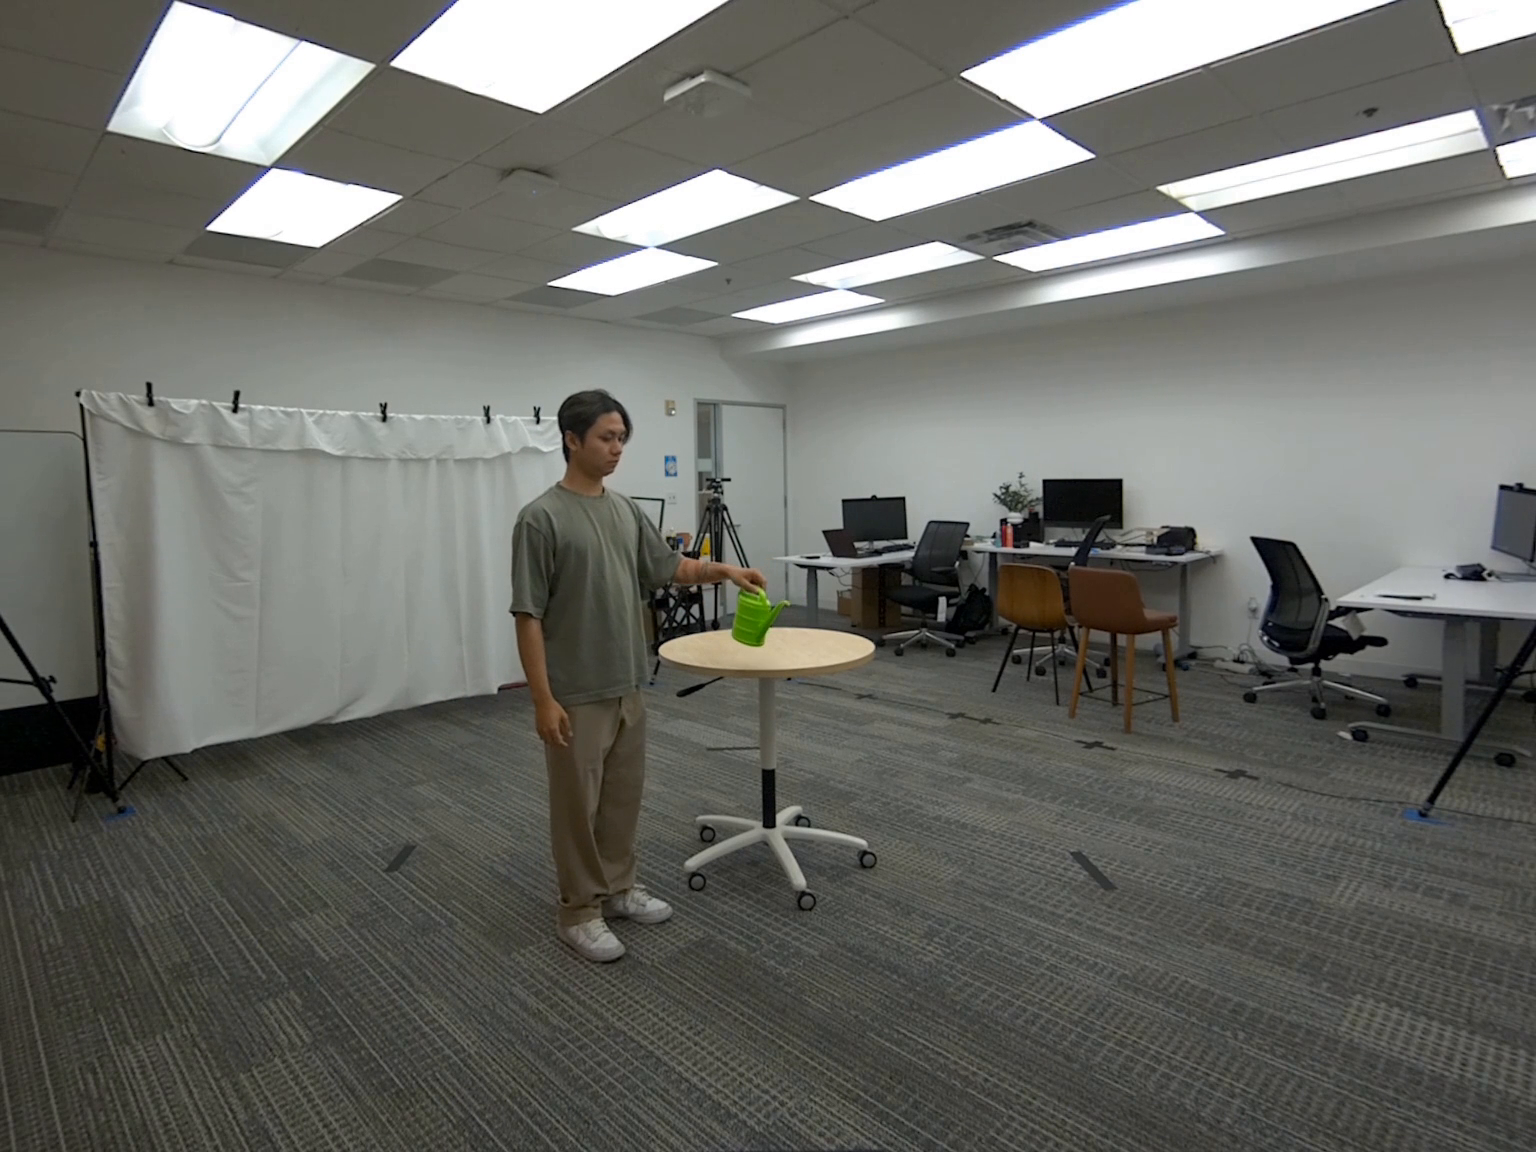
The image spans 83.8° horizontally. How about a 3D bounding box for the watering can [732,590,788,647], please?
[{"bbox_3d":[-0.035,0.127,2.589,0.096,0.175,0.284,6,11,-15],"label":"watering can"}]
